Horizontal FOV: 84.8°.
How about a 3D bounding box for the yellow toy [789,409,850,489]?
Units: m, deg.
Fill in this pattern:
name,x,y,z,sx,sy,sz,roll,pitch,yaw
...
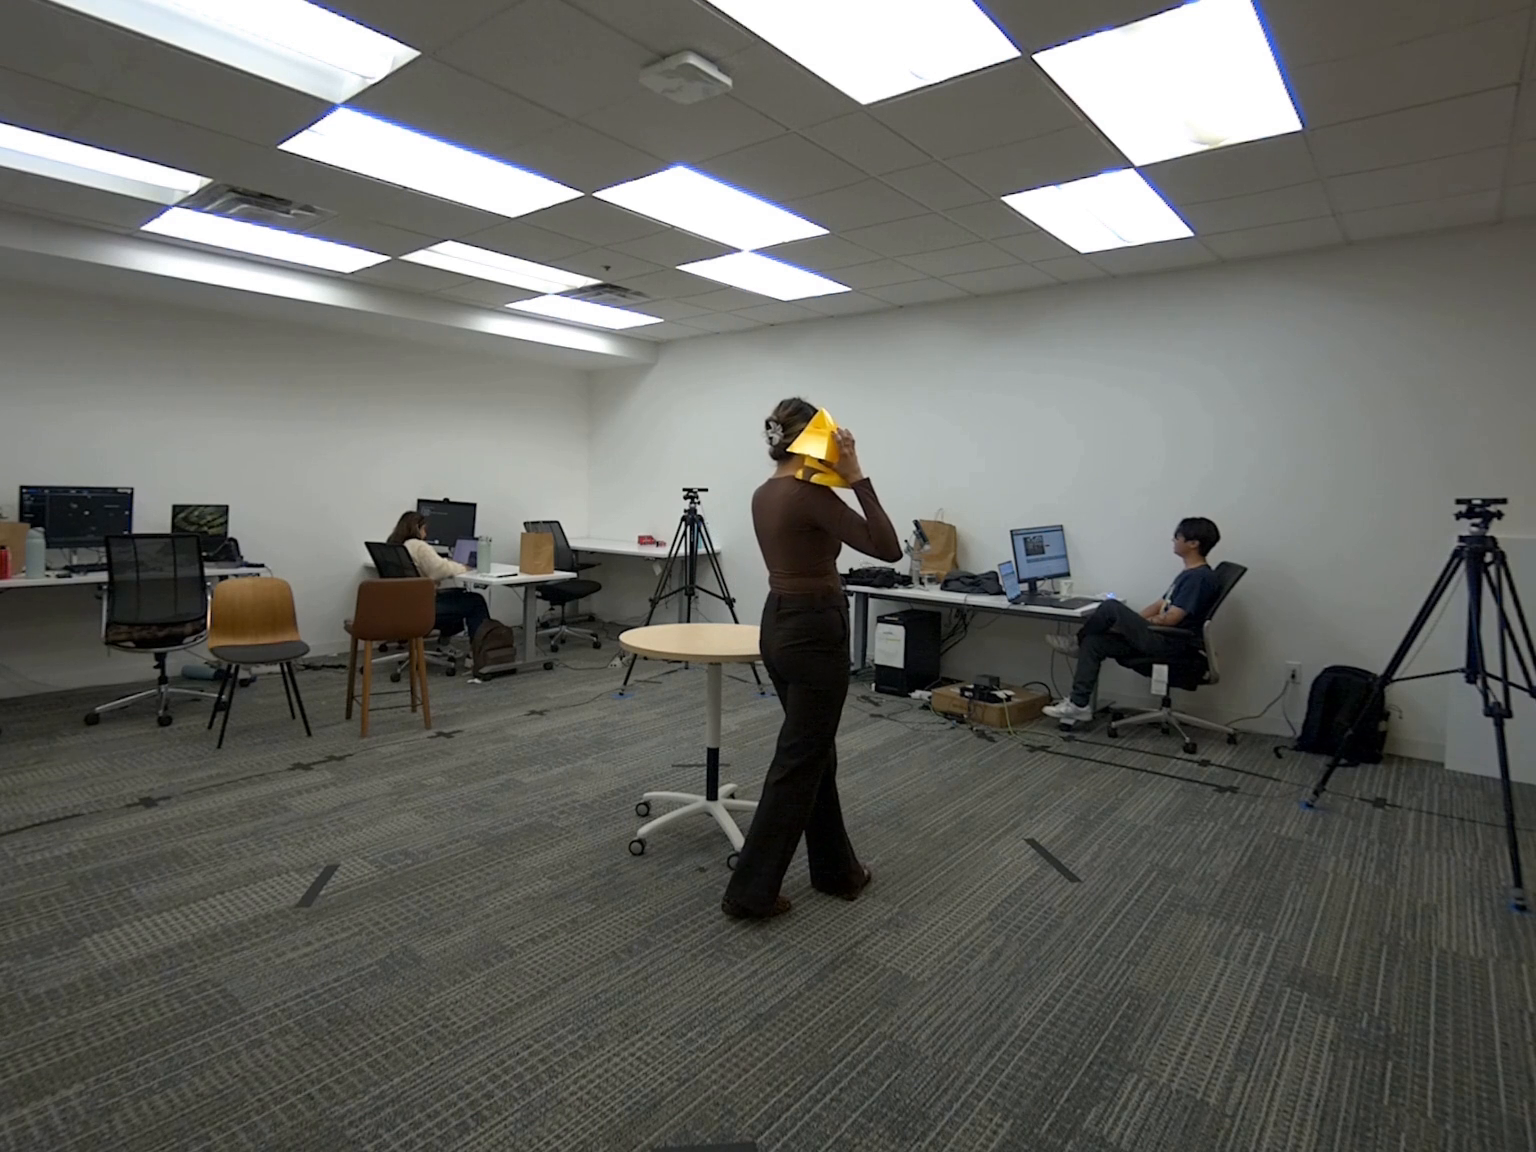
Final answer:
name,x,y,z,sx,sy,sz,roll,pitch,yaw
yellow toy,0.189,-0.410,2.673,0.187,0.229,0.212,5,9,-35
